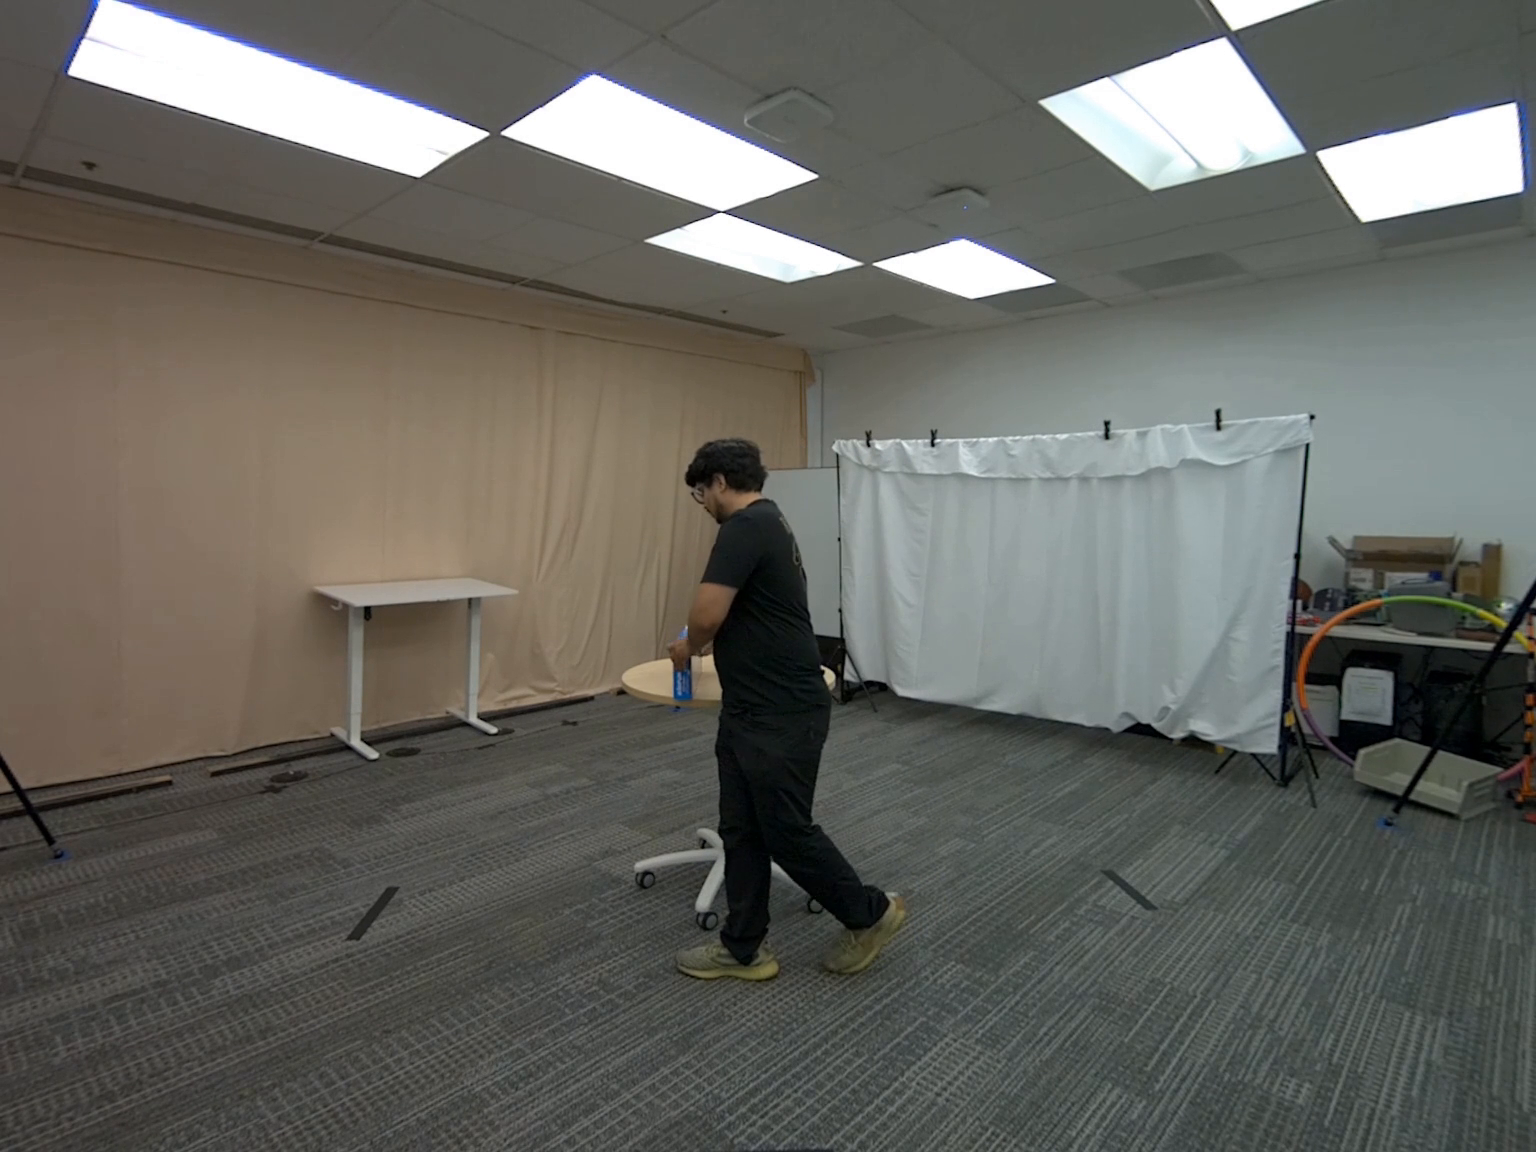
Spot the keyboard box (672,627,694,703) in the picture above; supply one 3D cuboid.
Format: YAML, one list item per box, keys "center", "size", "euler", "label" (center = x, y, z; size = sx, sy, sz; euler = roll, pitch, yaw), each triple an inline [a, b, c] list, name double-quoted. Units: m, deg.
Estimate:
- center: [-0.273, 0.281, 2.869]
  size: [0.059, 0.175, 0.438]
  euler: [-2, 5, -1]
  label: "keyboard box"
